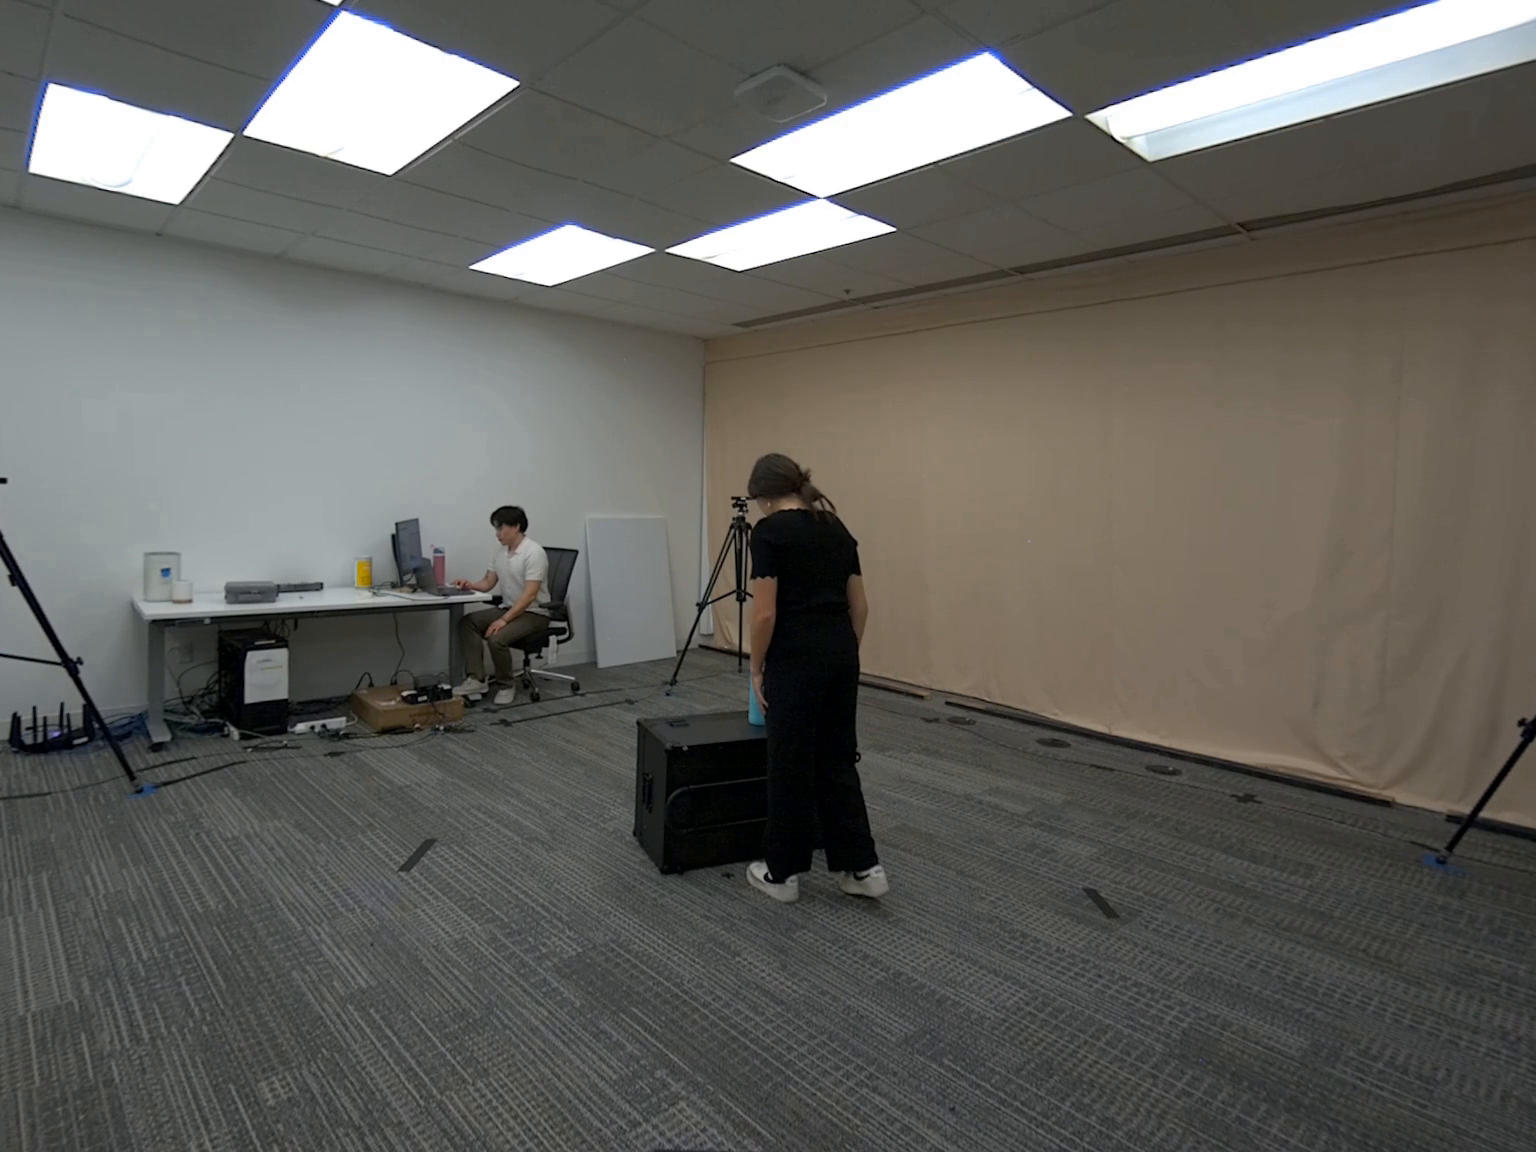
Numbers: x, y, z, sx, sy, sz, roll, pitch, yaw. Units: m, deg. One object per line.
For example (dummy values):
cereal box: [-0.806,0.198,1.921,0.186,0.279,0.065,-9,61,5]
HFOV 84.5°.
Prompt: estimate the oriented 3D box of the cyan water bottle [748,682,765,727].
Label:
cyan water bottle: [-0.032,0.454,3.401,0.092,0.282,0.093,1,4,-1]
